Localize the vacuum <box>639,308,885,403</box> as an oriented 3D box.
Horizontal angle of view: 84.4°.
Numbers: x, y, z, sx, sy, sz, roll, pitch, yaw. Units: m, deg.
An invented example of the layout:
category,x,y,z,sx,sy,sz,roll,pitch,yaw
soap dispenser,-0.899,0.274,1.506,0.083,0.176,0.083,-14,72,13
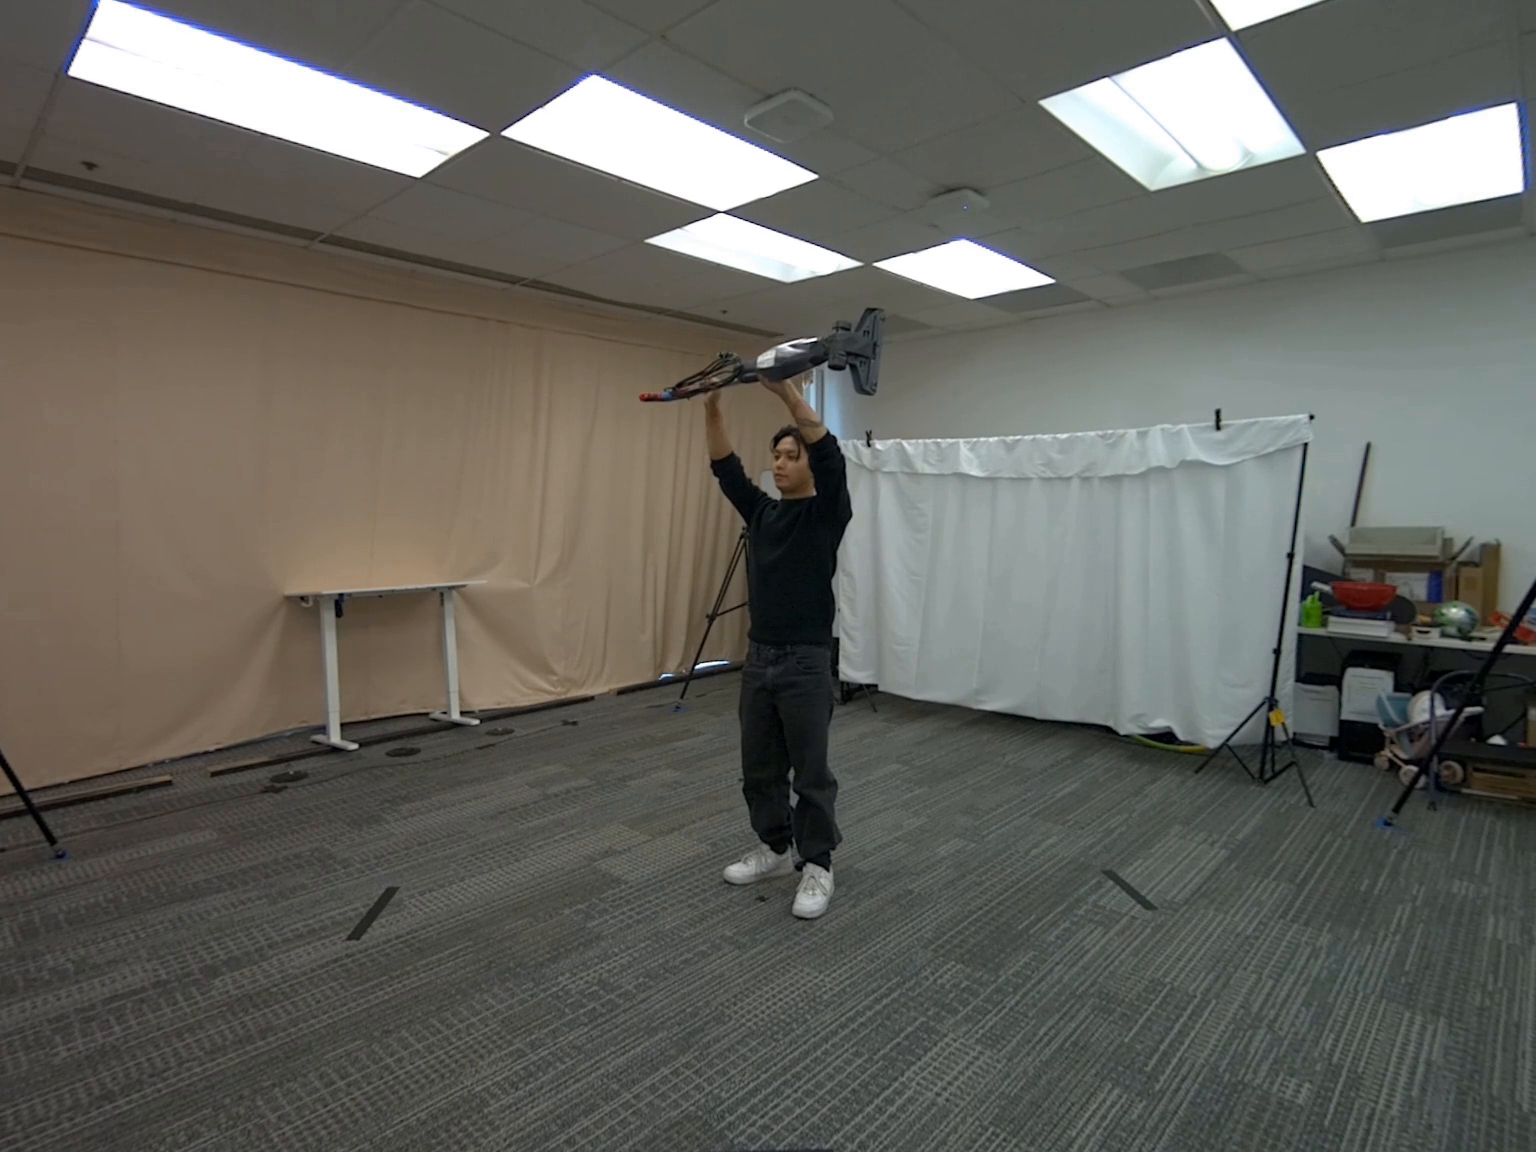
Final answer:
category,x,y,z,sx,sy,sz,roll,pitch,yaw
vacuum,-0.102,-0.657,2.764,0.139,0.253,1.084,16,-9,-42
